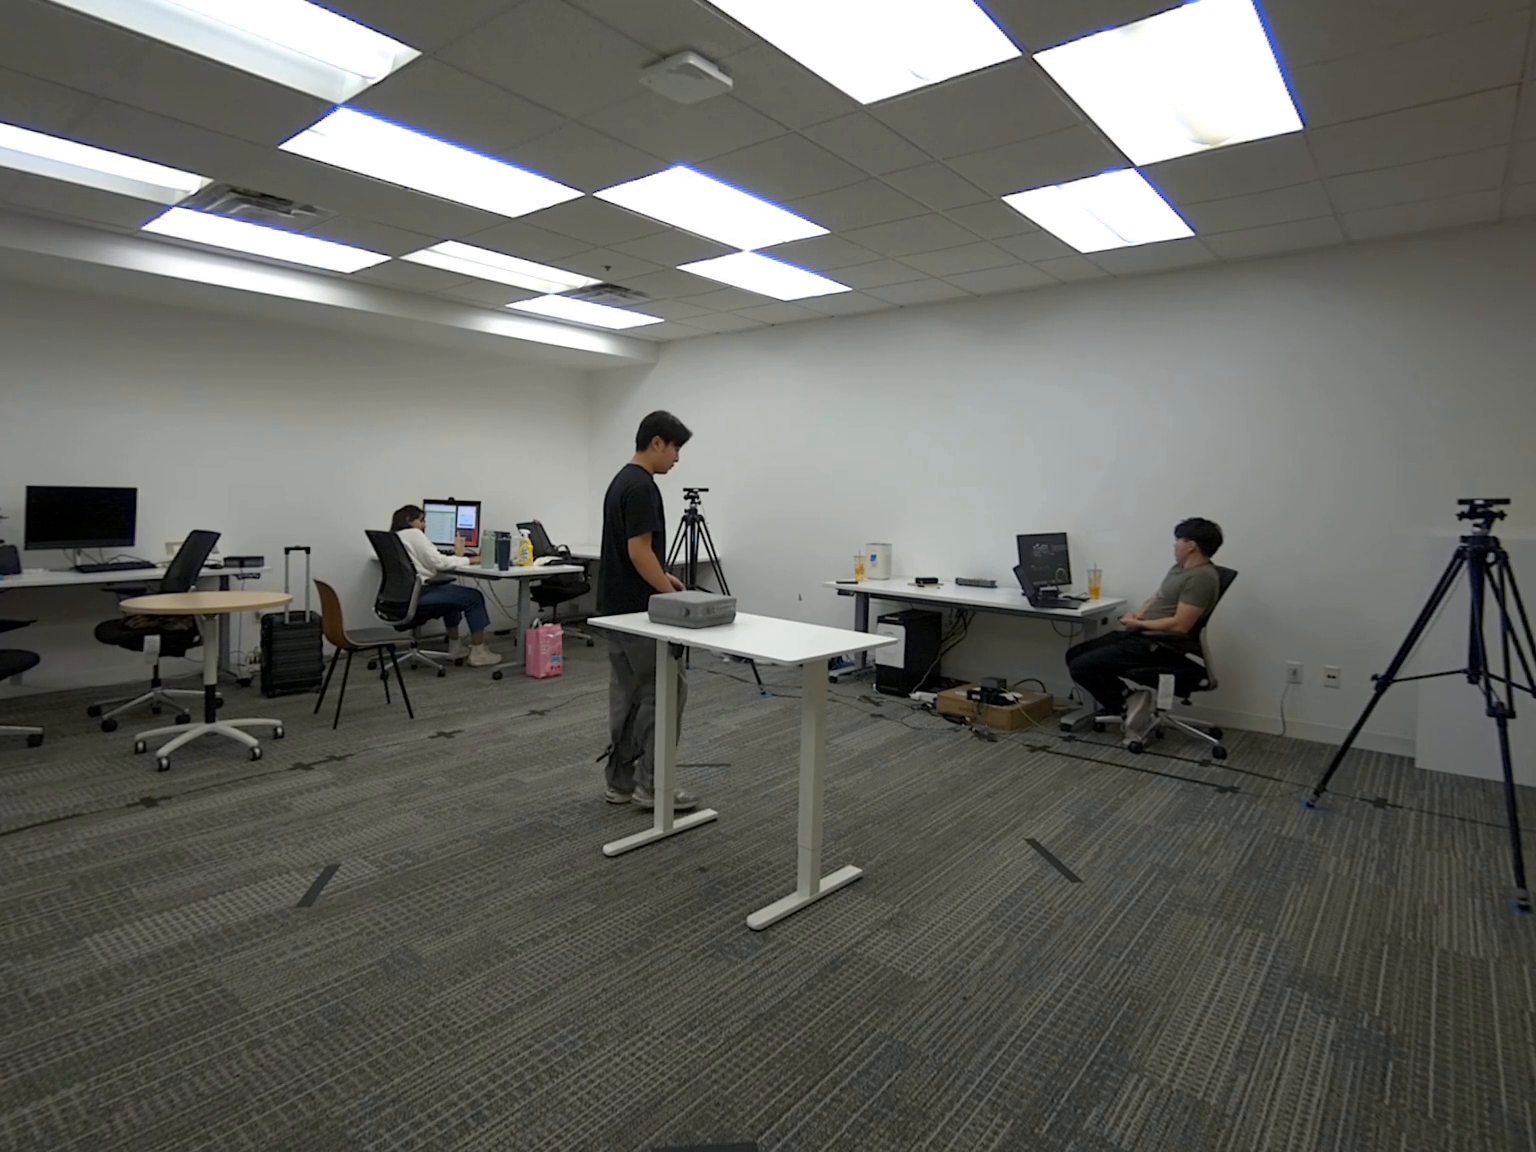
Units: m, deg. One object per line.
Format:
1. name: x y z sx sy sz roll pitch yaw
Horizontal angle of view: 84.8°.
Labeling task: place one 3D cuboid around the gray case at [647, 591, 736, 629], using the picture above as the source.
1. gray case: -0.284 0.123 3.208 0.297 0.103 0.255 5 6 38
